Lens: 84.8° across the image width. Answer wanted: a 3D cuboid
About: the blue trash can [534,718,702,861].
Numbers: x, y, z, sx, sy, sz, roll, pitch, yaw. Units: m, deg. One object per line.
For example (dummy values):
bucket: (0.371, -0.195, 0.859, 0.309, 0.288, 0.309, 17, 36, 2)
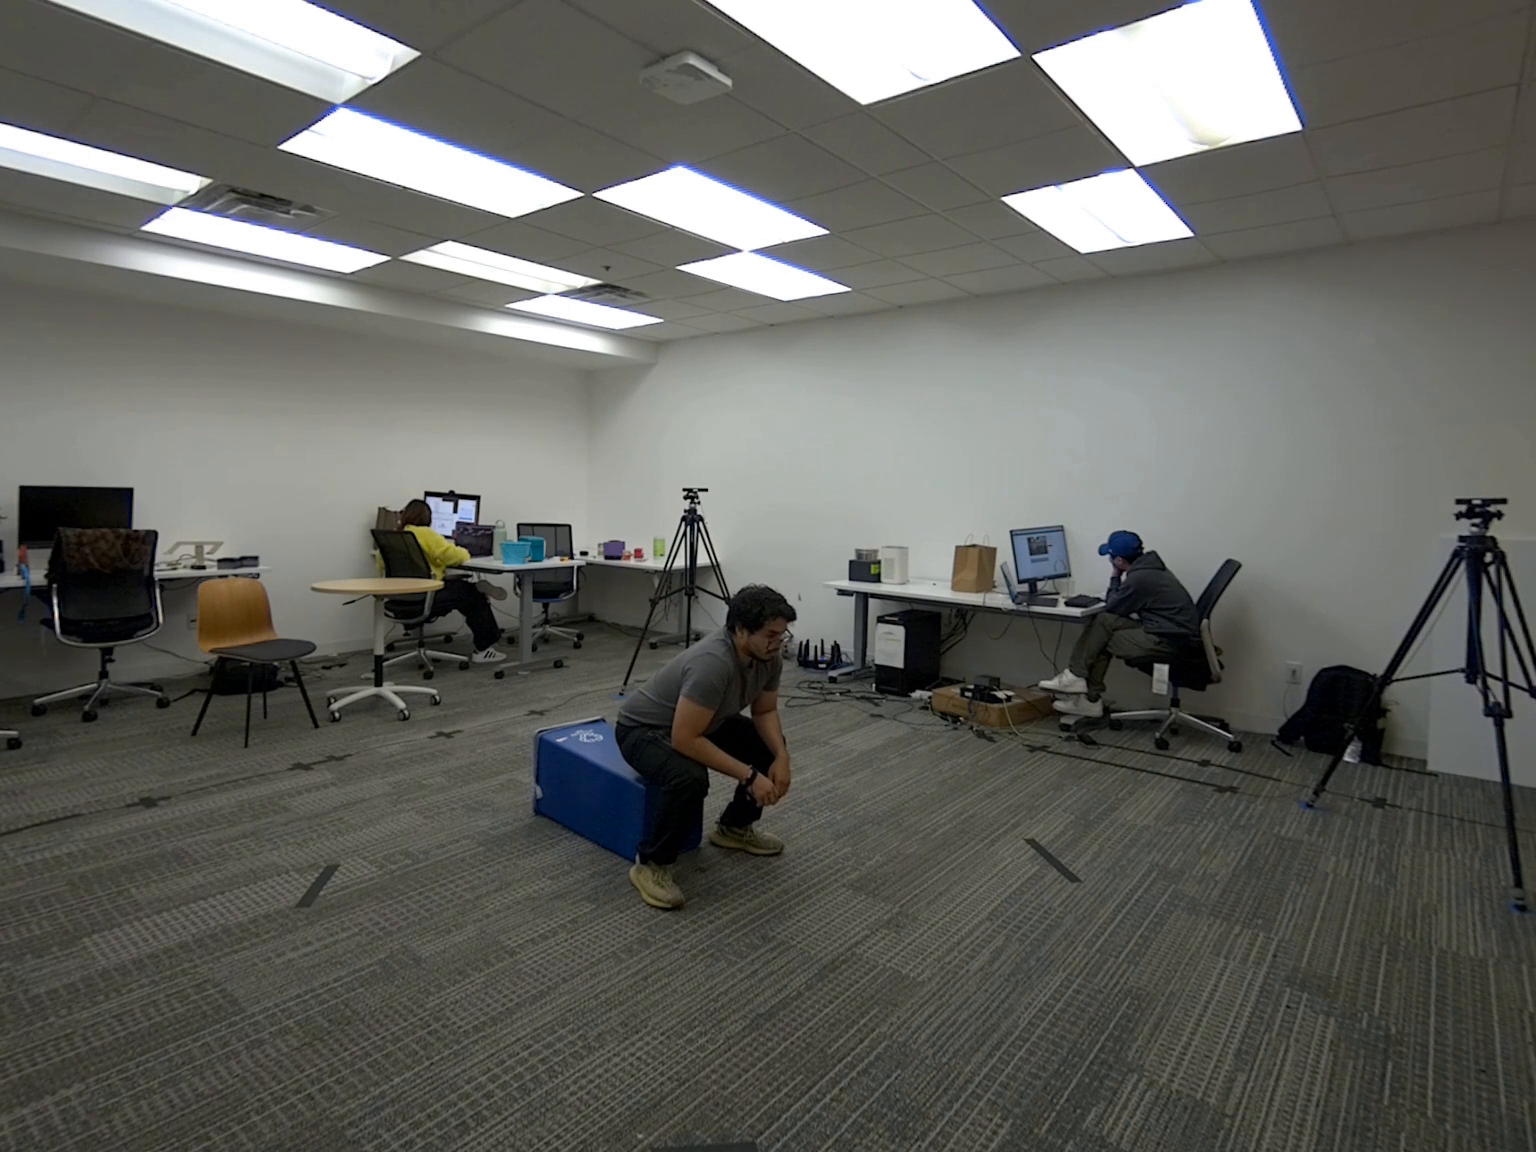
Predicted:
blue trash can: (-0.626, 0.850, 3.455, 0.739, 0.372, 0.366, 8, 7, 44)
